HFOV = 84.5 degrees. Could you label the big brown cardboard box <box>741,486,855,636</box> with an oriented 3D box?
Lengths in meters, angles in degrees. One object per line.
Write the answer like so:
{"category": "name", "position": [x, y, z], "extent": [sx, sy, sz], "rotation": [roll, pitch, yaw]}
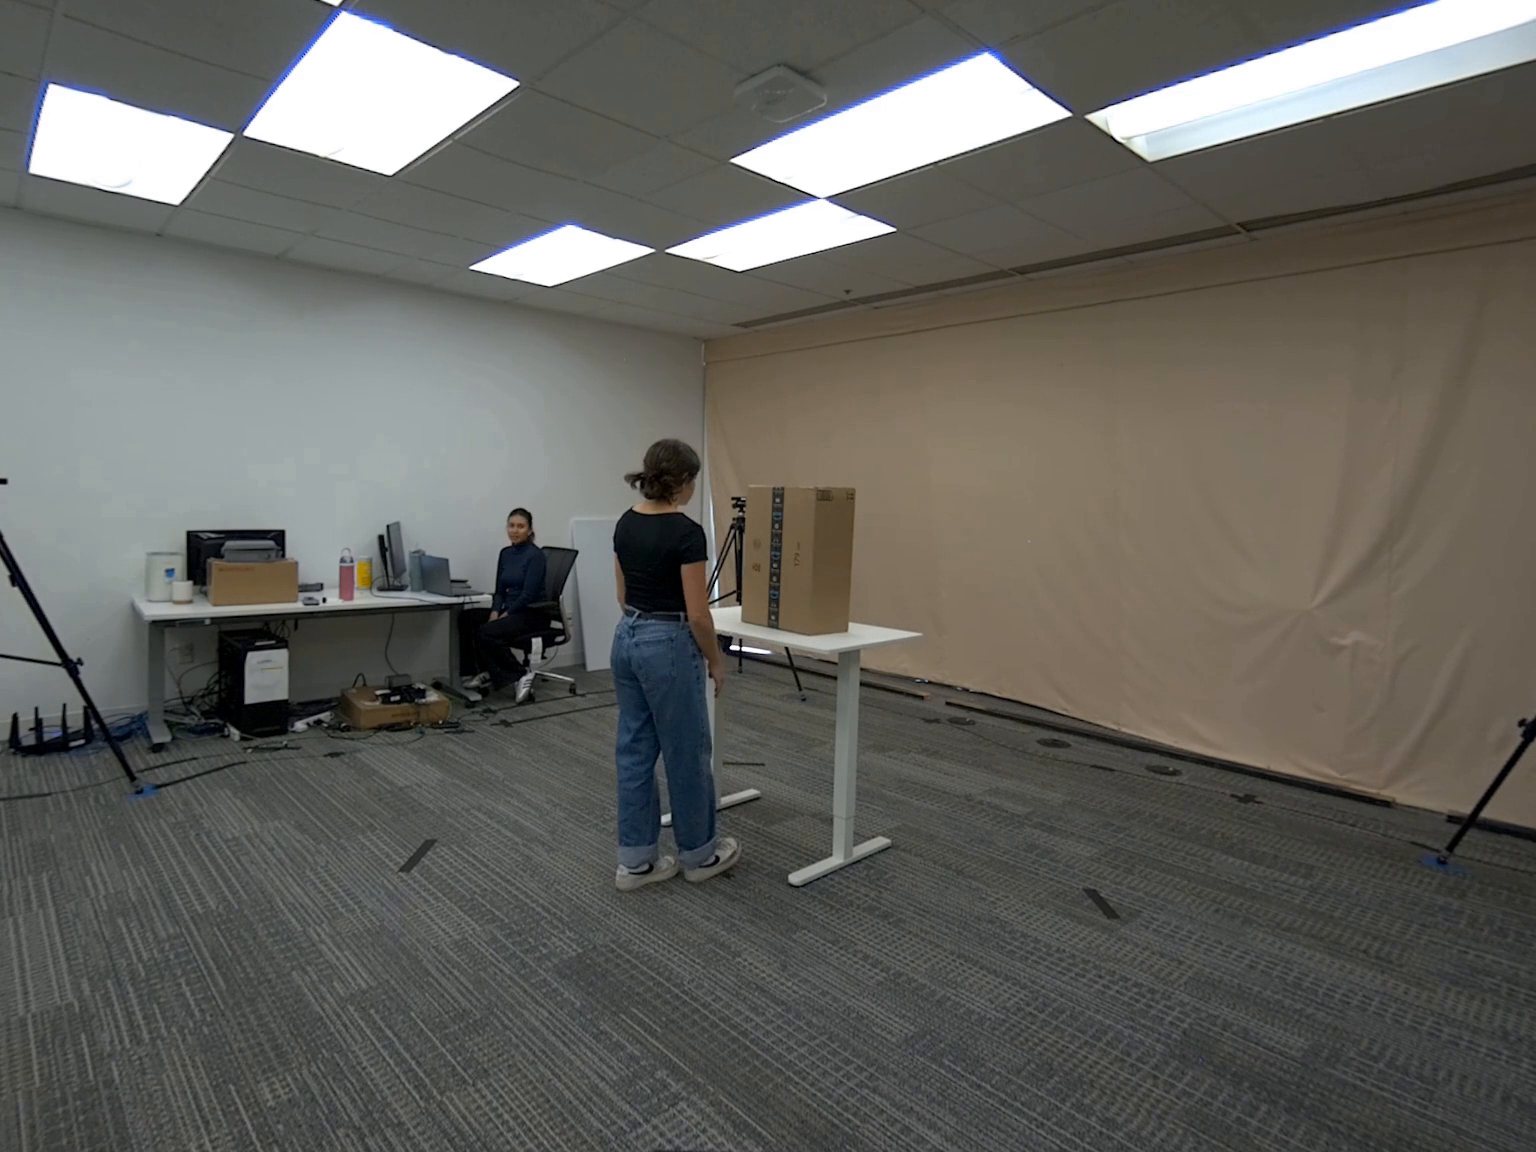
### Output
{"category": "big brown cardboard box", "position": [0.107, -0.084, 3.383], "extent": [0.228, 0.587, 0.428], "rotation": [0, 5, -39]}
